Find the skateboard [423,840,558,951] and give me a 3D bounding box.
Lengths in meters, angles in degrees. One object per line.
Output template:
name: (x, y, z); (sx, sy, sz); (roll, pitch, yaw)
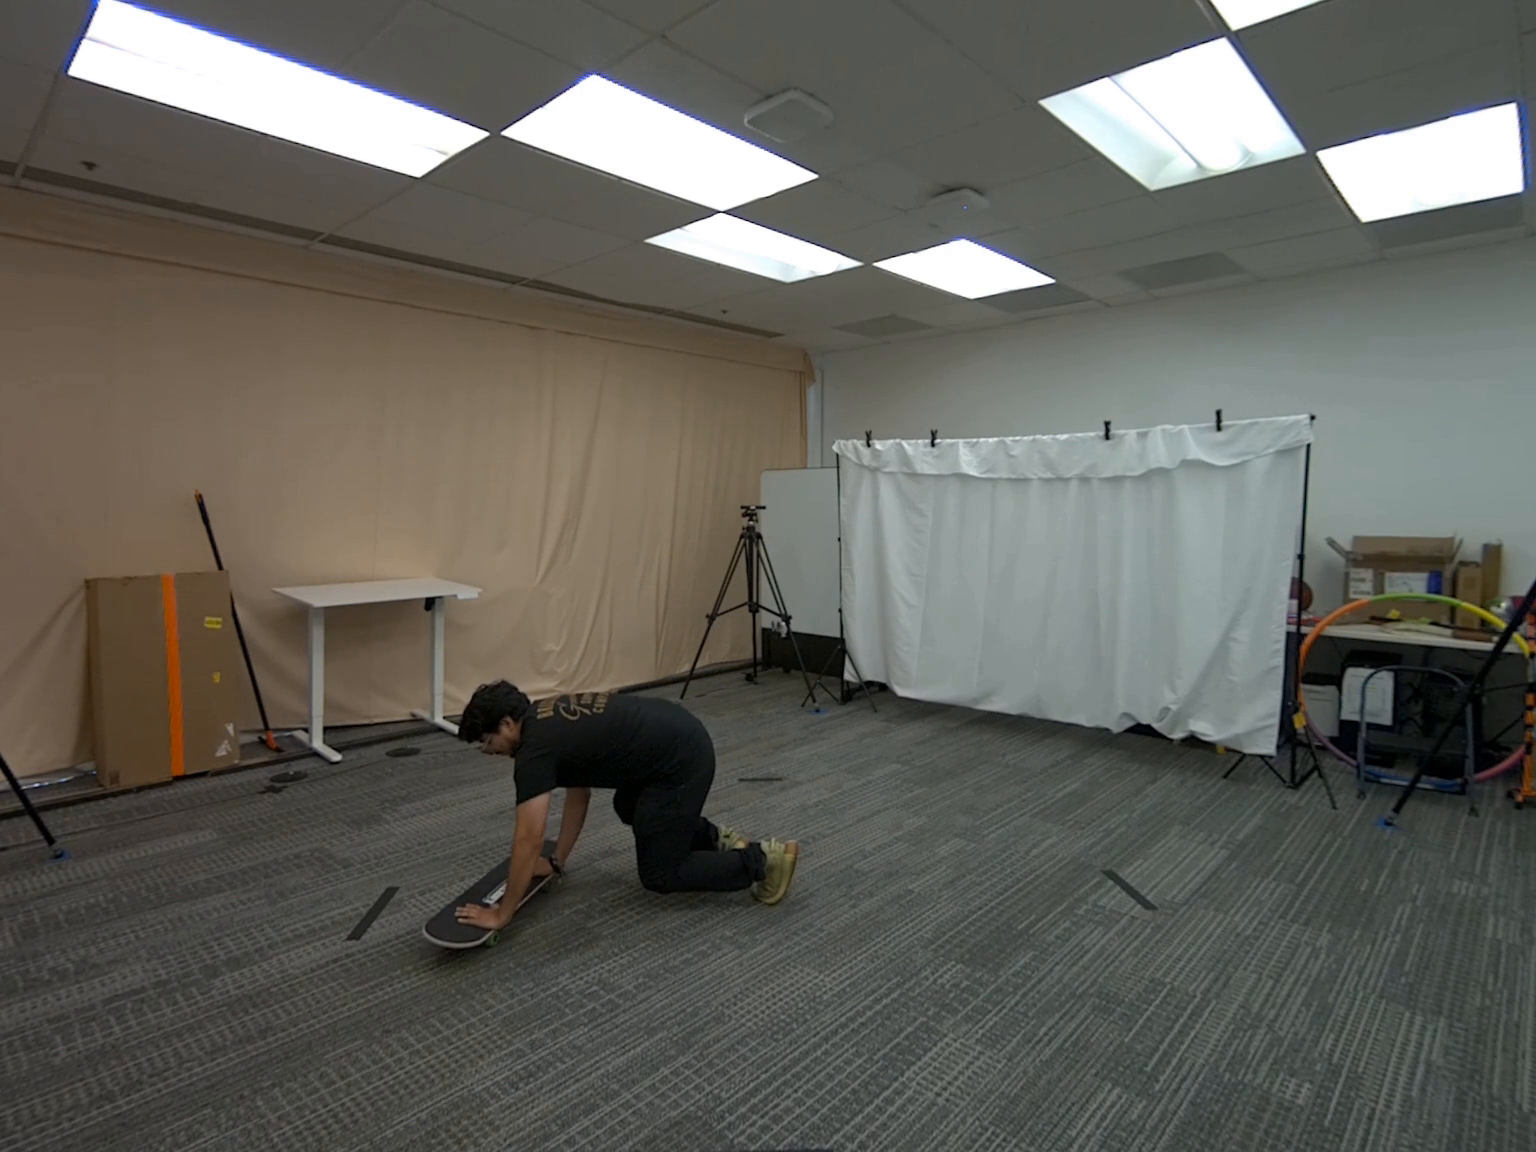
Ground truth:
skateboard: (-0.910, 1.102, 2.884); (0.196, 0.110, 0.776); (10, 5, 10)
